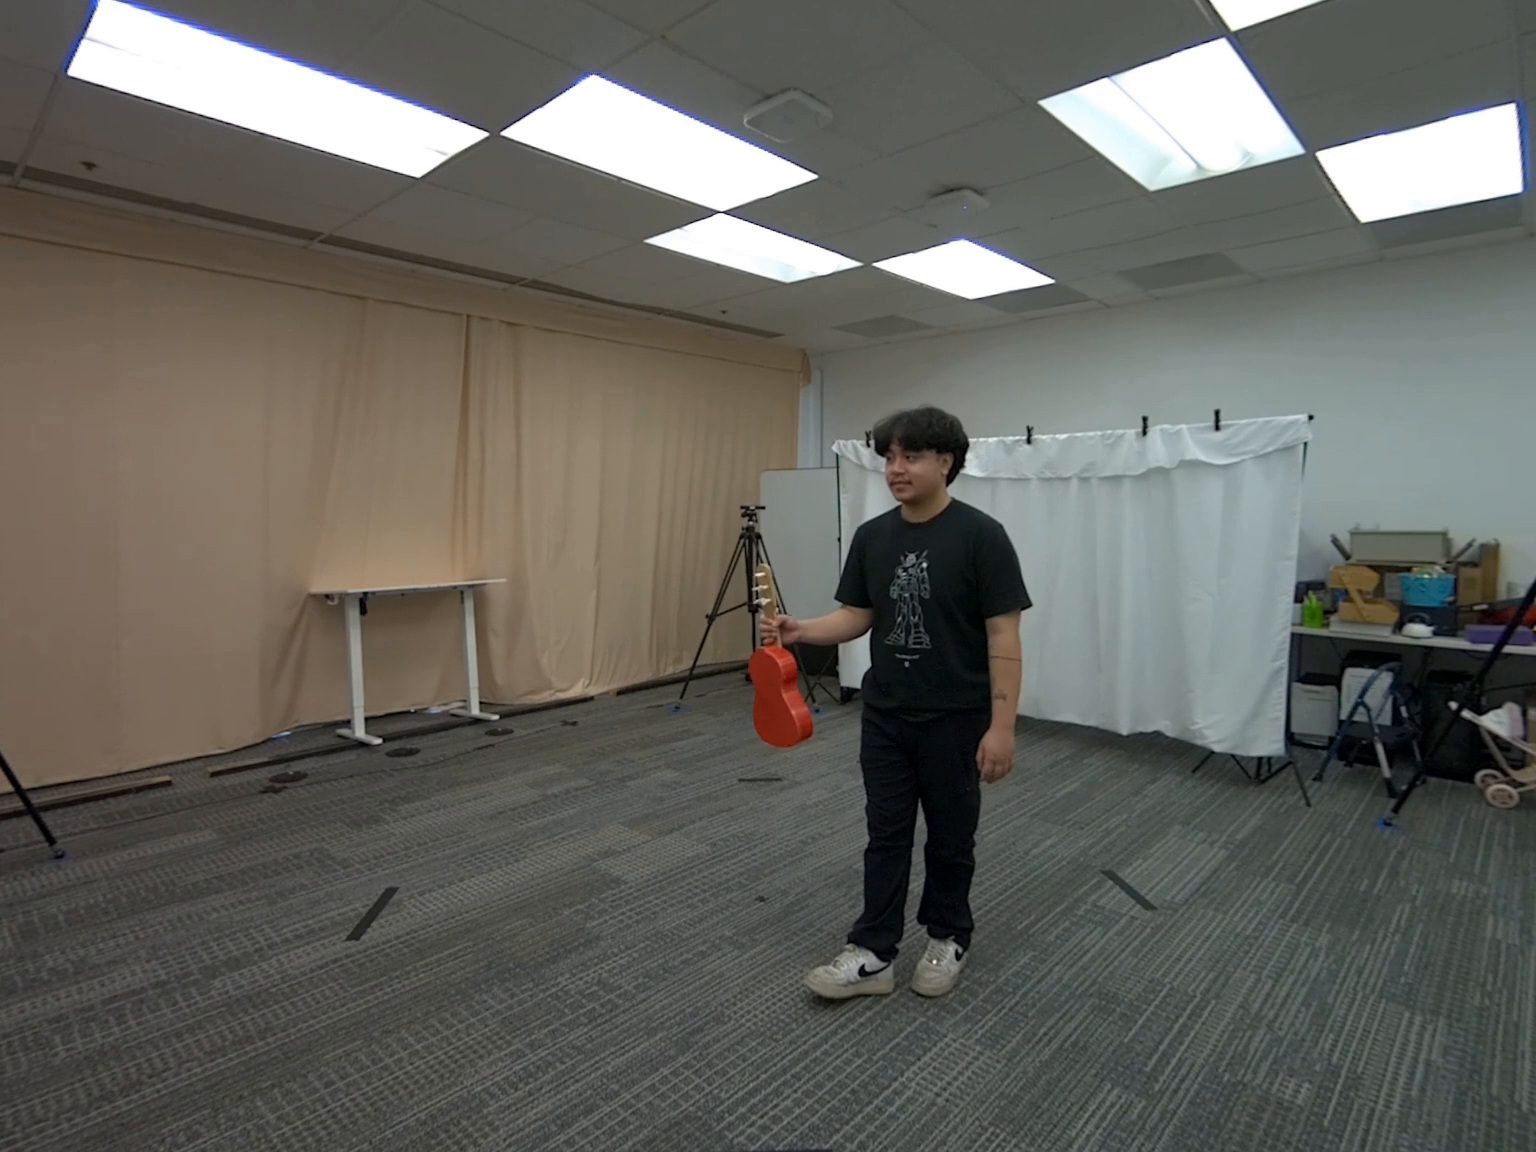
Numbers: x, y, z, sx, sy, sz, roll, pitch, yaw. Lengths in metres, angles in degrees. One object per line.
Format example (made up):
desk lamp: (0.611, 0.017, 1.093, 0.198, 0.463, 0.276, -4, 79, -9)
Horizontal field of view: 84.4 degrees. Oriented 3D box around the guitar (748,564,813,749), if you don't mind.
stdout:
guitar: (-0.002, 0.227, 2.355, 0.069, 0.500, 0.197, -9, -8, -34)
